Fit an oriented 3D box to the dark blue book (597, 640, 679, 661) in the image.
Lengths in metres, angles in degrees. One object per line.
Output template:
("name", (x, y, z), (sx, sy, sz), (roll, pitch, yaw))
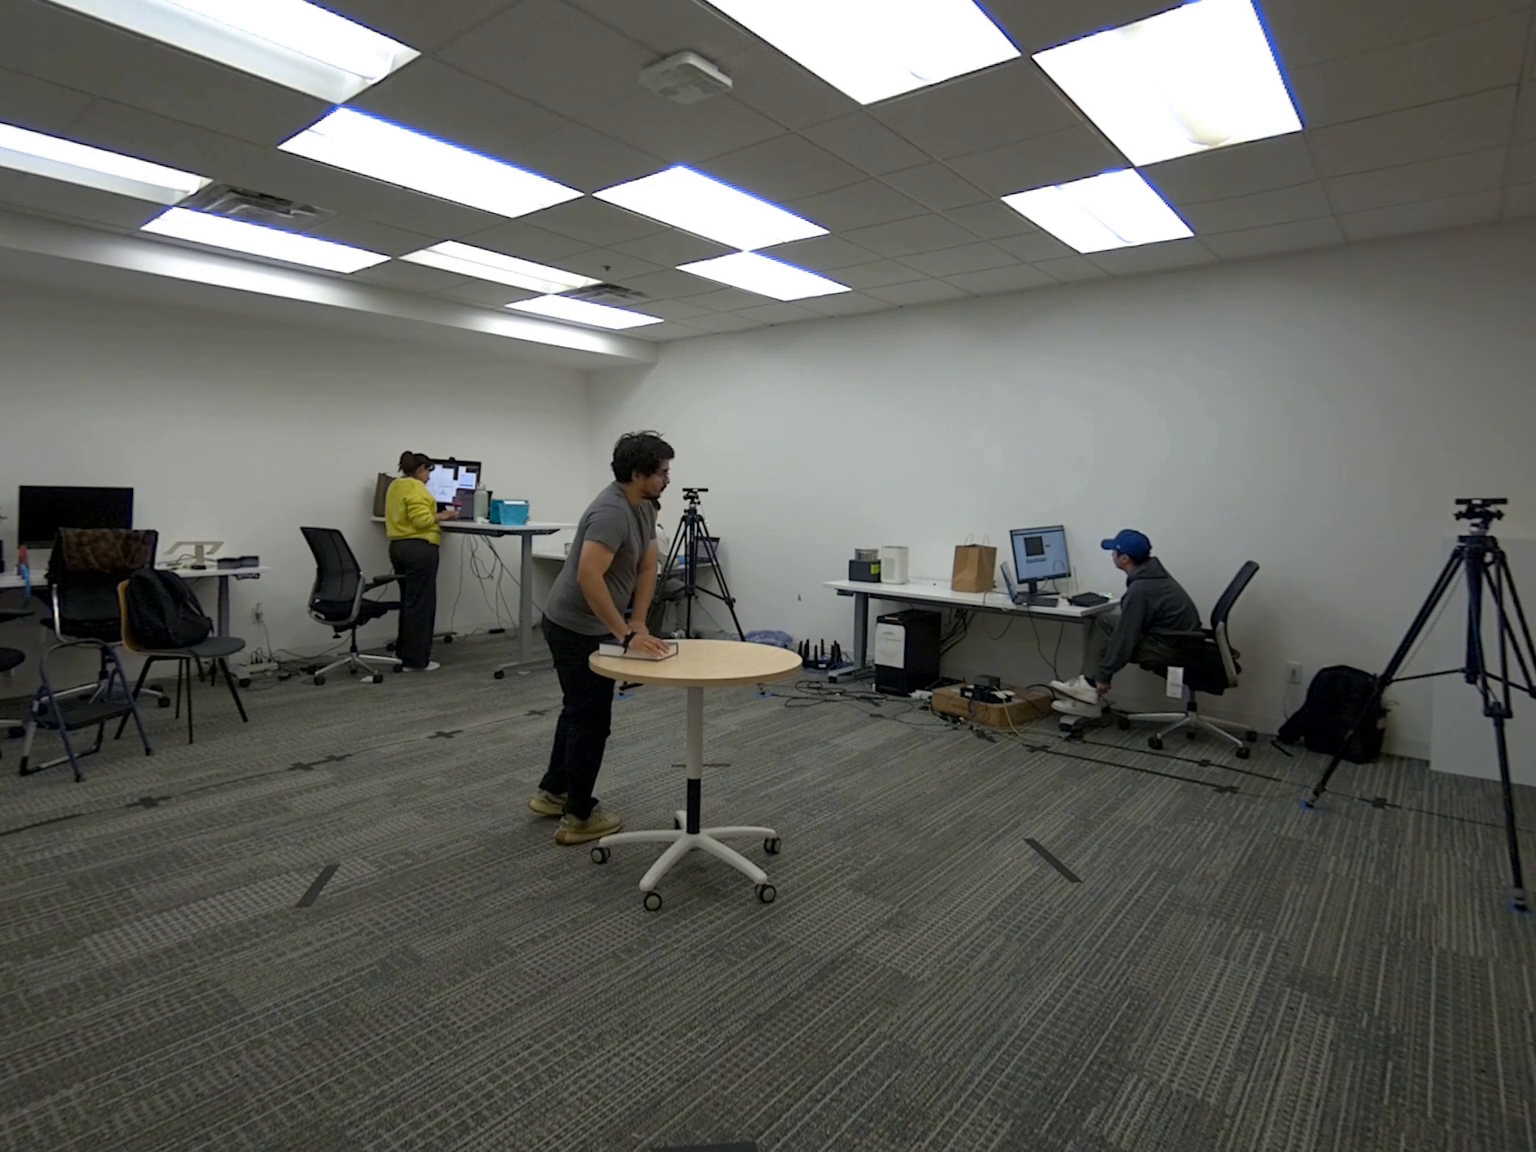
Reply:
("dark blue book", (-0.480, 0.264, 3.101), (0.250, 0.045, 0.160), (3, 5, 20))
